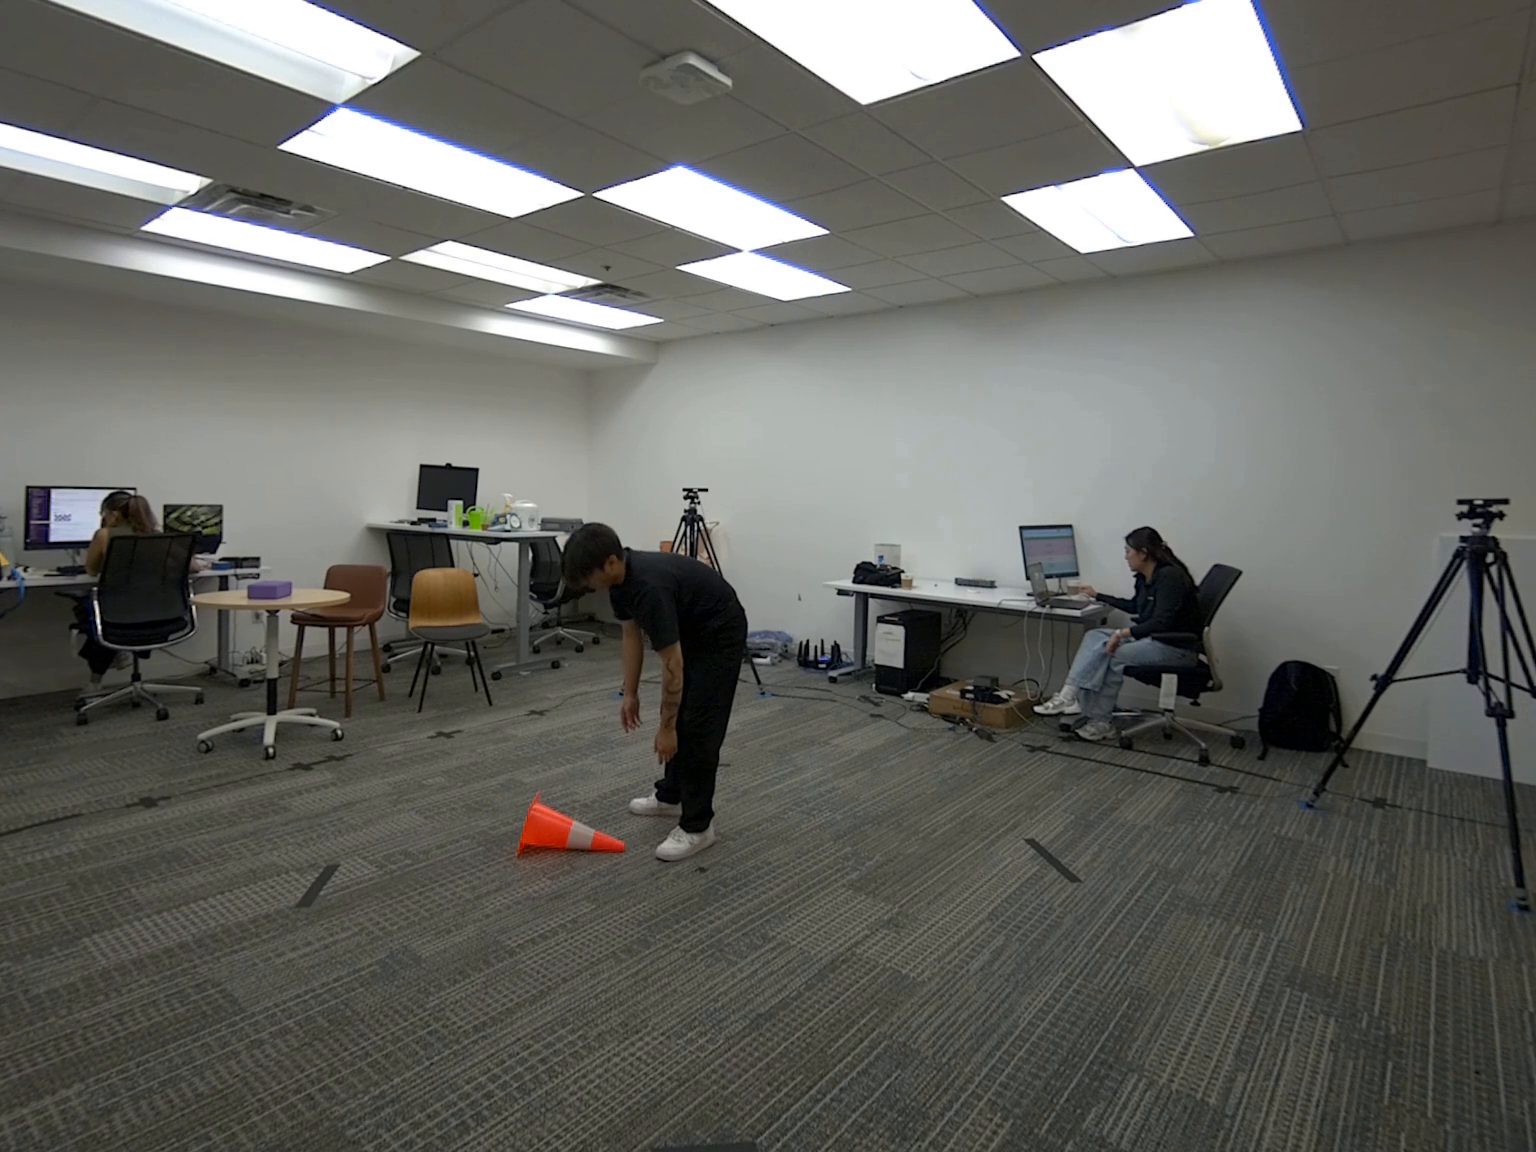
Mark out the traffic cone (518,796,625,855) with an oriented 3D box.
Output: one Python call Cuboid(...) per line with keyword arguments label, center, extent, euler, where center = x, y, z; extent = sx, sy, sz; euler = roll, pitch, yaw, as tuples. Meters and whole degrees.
Cuboid(label="traffic cone", center=(-0.749, 1.005, 3.276), extent=(0.383, 0.203, 0.206), euler=(17, 5, -2))
